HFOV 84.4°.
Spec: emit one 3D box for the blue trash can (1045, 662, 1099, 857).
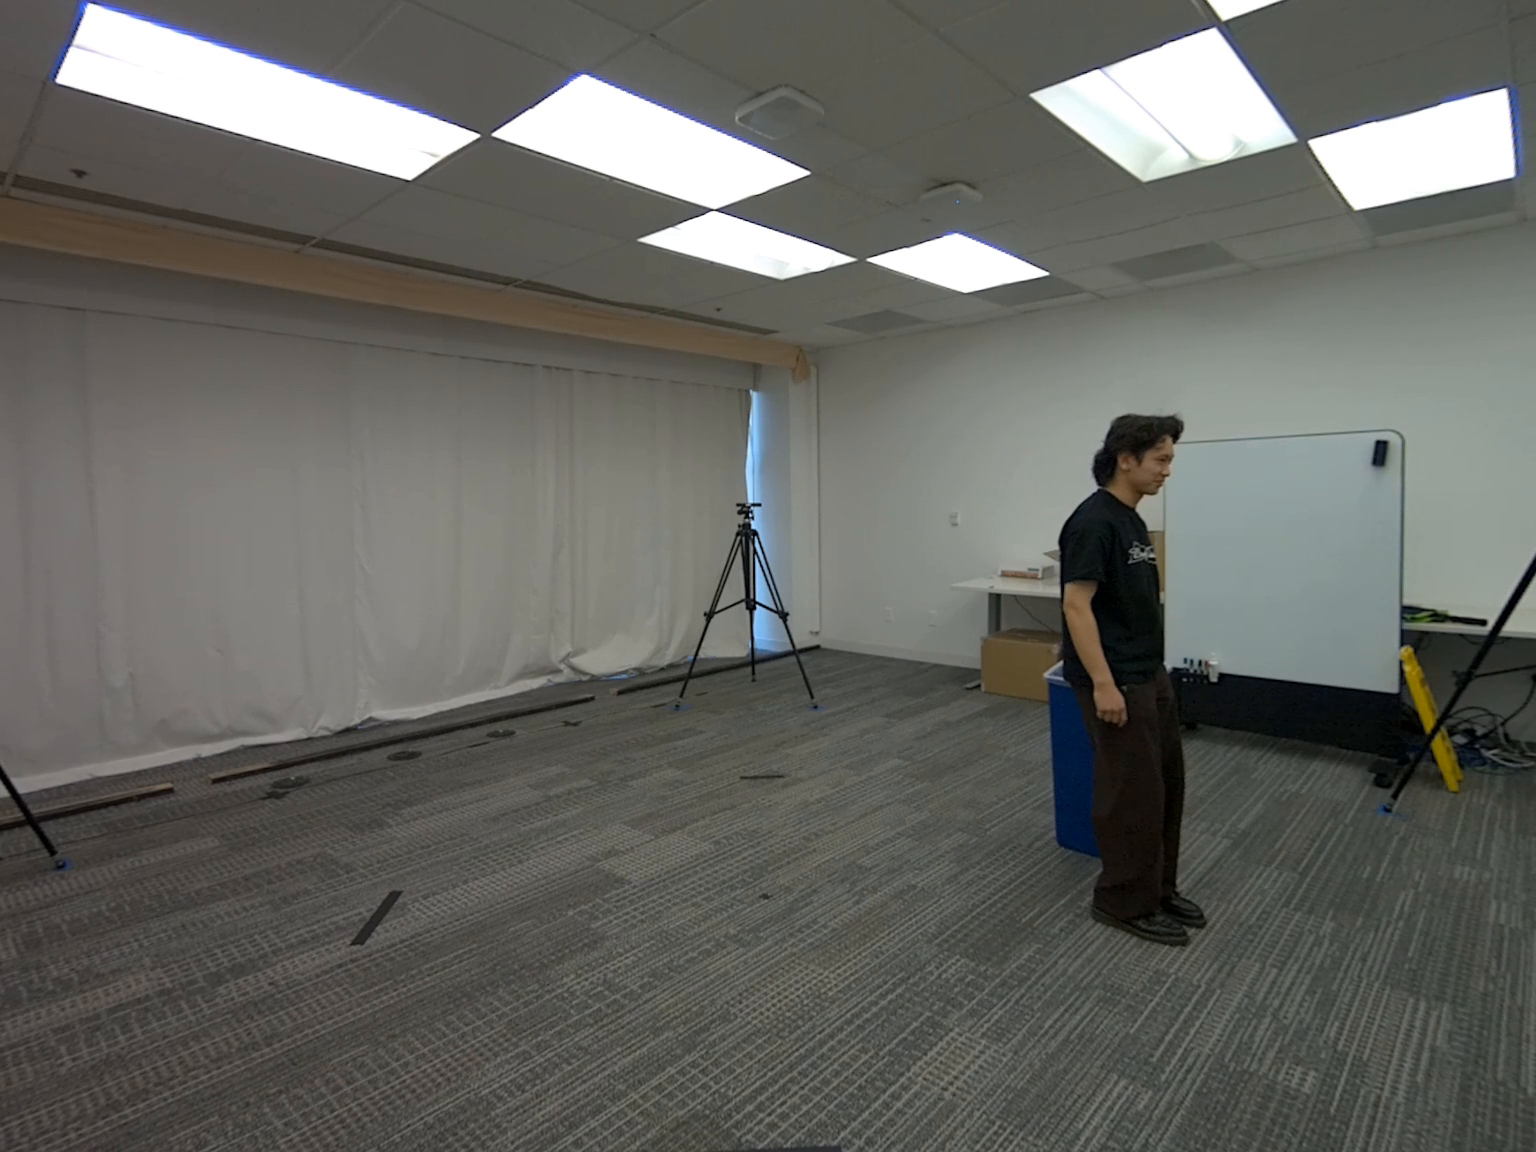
[{"bbox_3d":[1.338,0.708,3.303,0.391,0.709,0.364,4,13,43],"label":"blue trash can"}]
